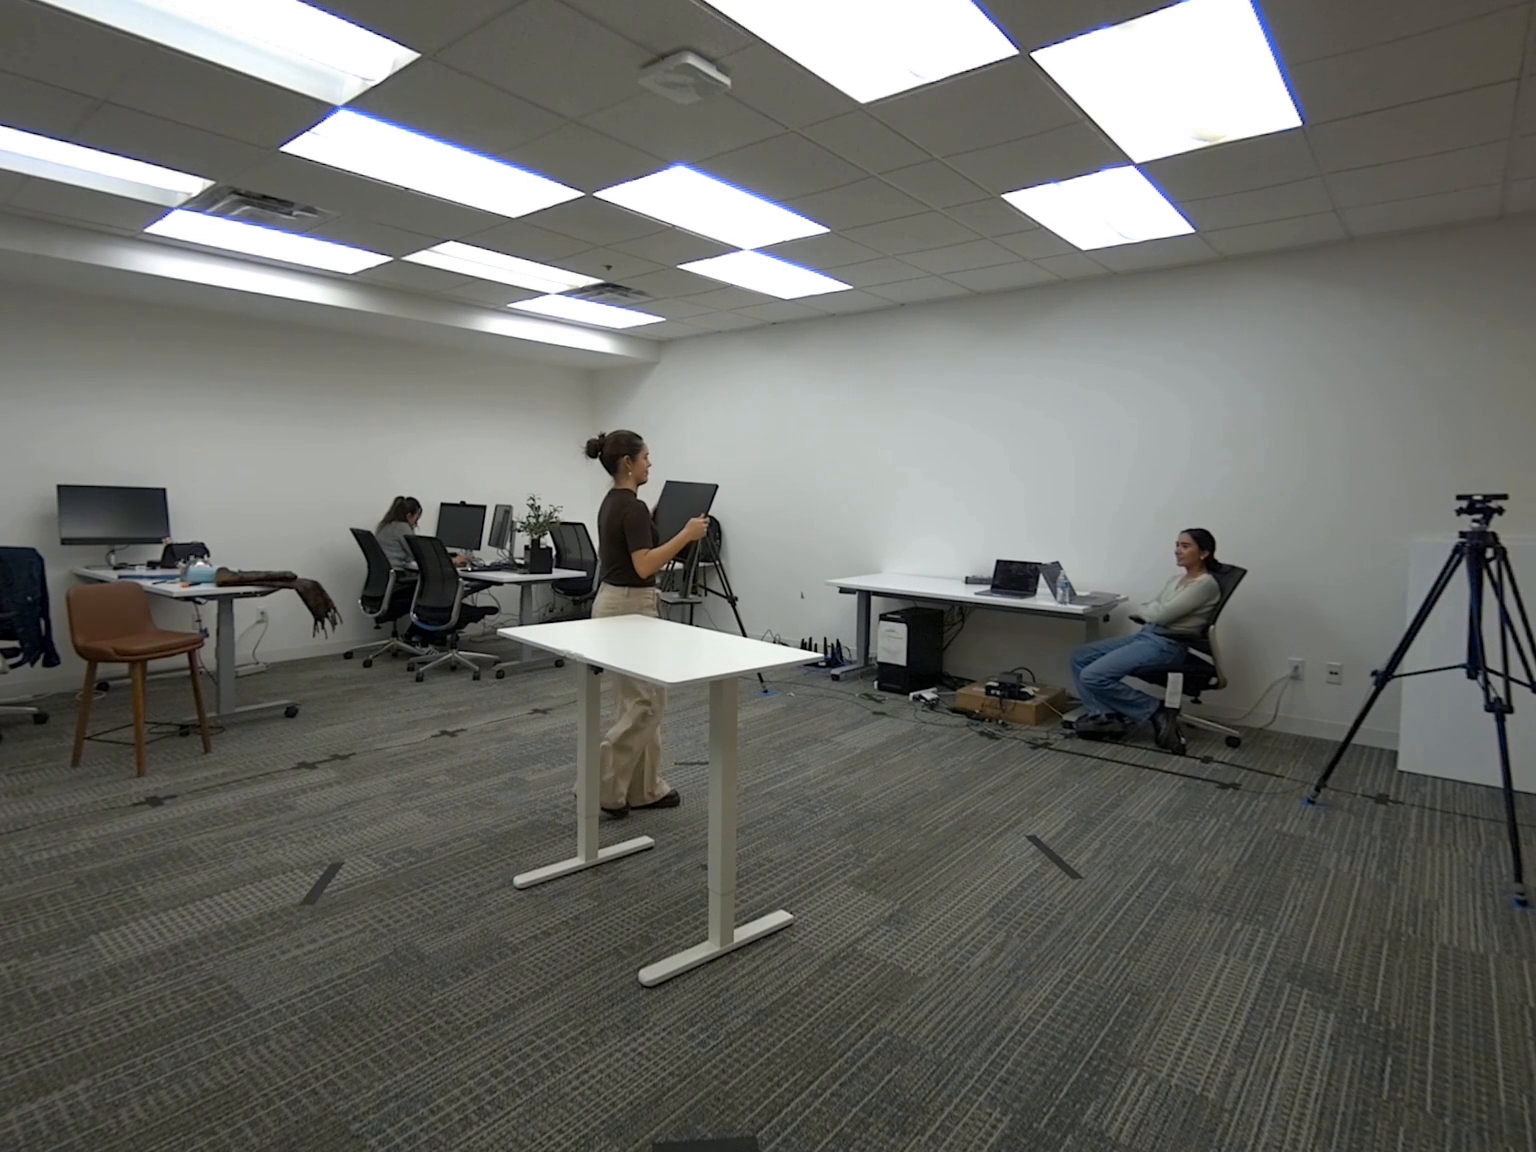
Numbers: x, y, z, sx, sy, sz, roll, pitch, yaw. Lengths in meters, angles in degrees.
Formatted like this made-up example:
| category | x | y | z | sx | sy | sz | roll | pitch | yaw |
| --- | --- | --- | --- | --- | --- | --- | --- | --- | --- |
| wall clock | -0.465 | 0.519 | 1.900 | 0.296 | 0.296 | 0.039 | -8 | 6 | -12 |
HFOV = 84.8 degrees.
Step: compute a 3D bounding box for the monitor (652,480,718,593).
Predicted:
| category | x | y | z | sx | sy | sz | roll | pitch | yaw |
| --- | --- | --- | --- | --- | --- | --- | --- | --- | --- |
| monitor | -0.394 | -0.155 | 3.716 | 0.181 | 0.521 | 0.557 | 6 | 4 | -32 |
